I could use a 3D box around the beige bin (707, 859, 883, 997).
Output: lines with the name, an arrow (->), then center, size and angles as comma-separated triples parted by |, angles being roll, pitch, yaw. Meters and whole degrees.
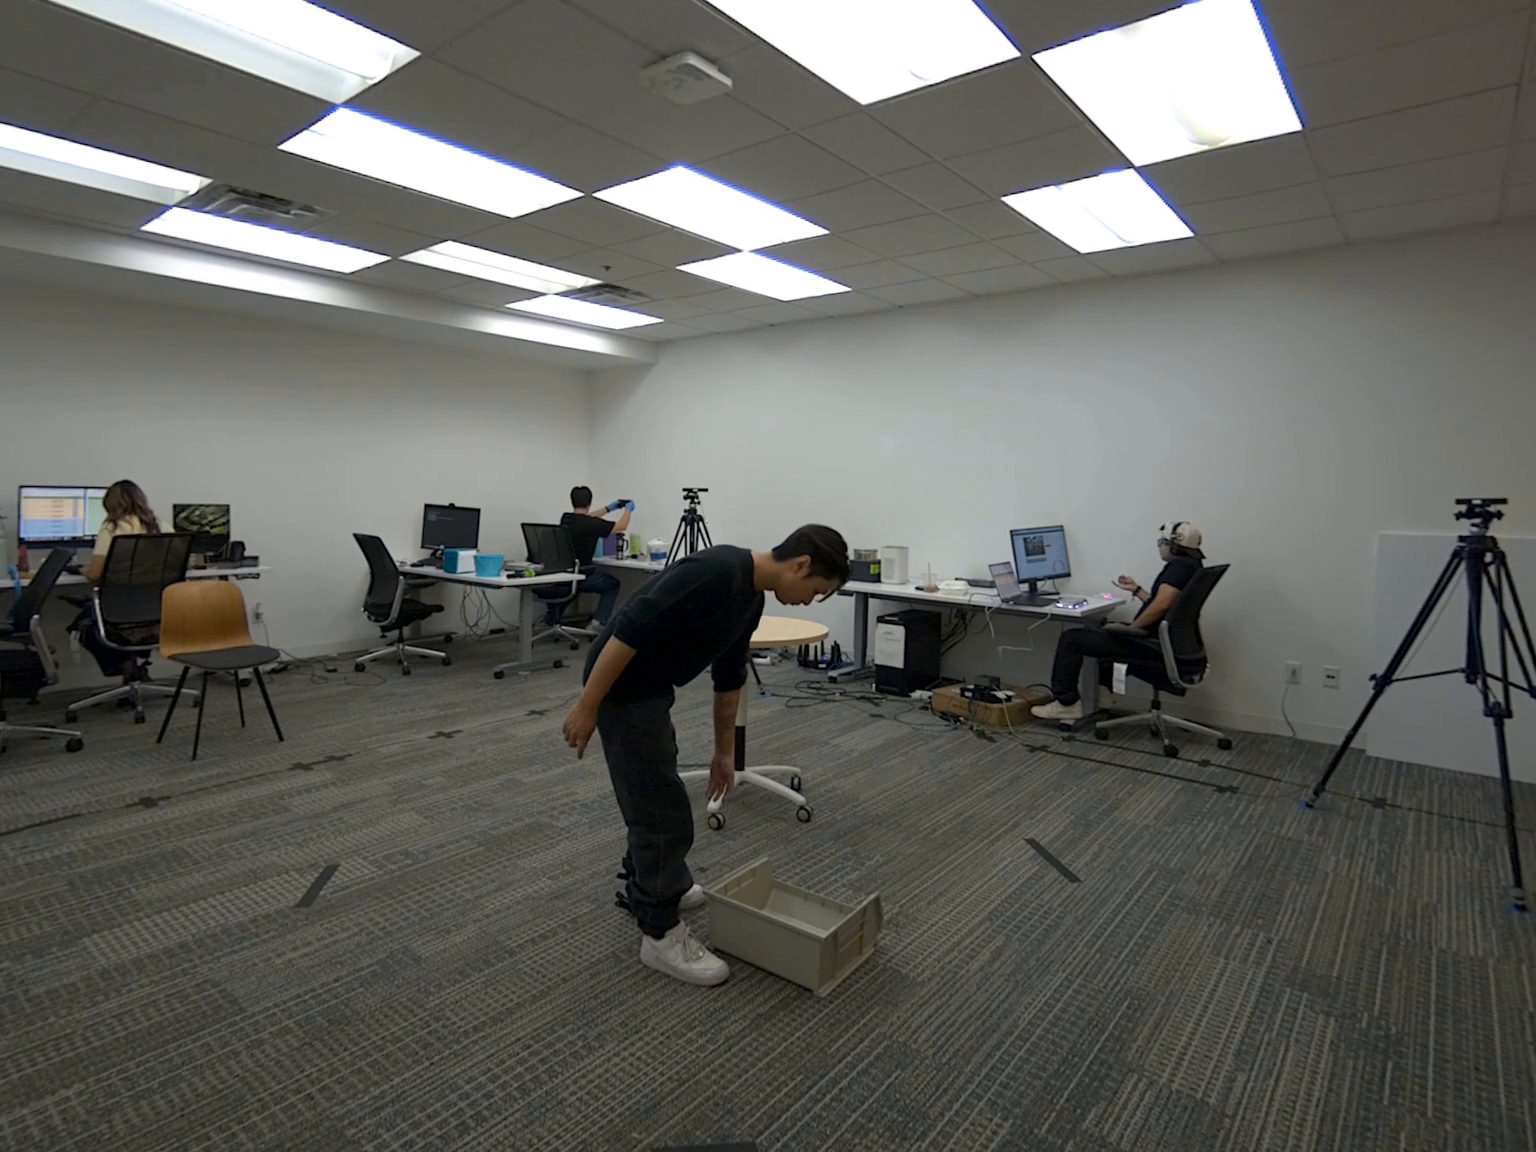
beige bin -> 0.073, 1.040, 2.585 | 0.436, 0.188, 0.367 | 5, 7, 35
